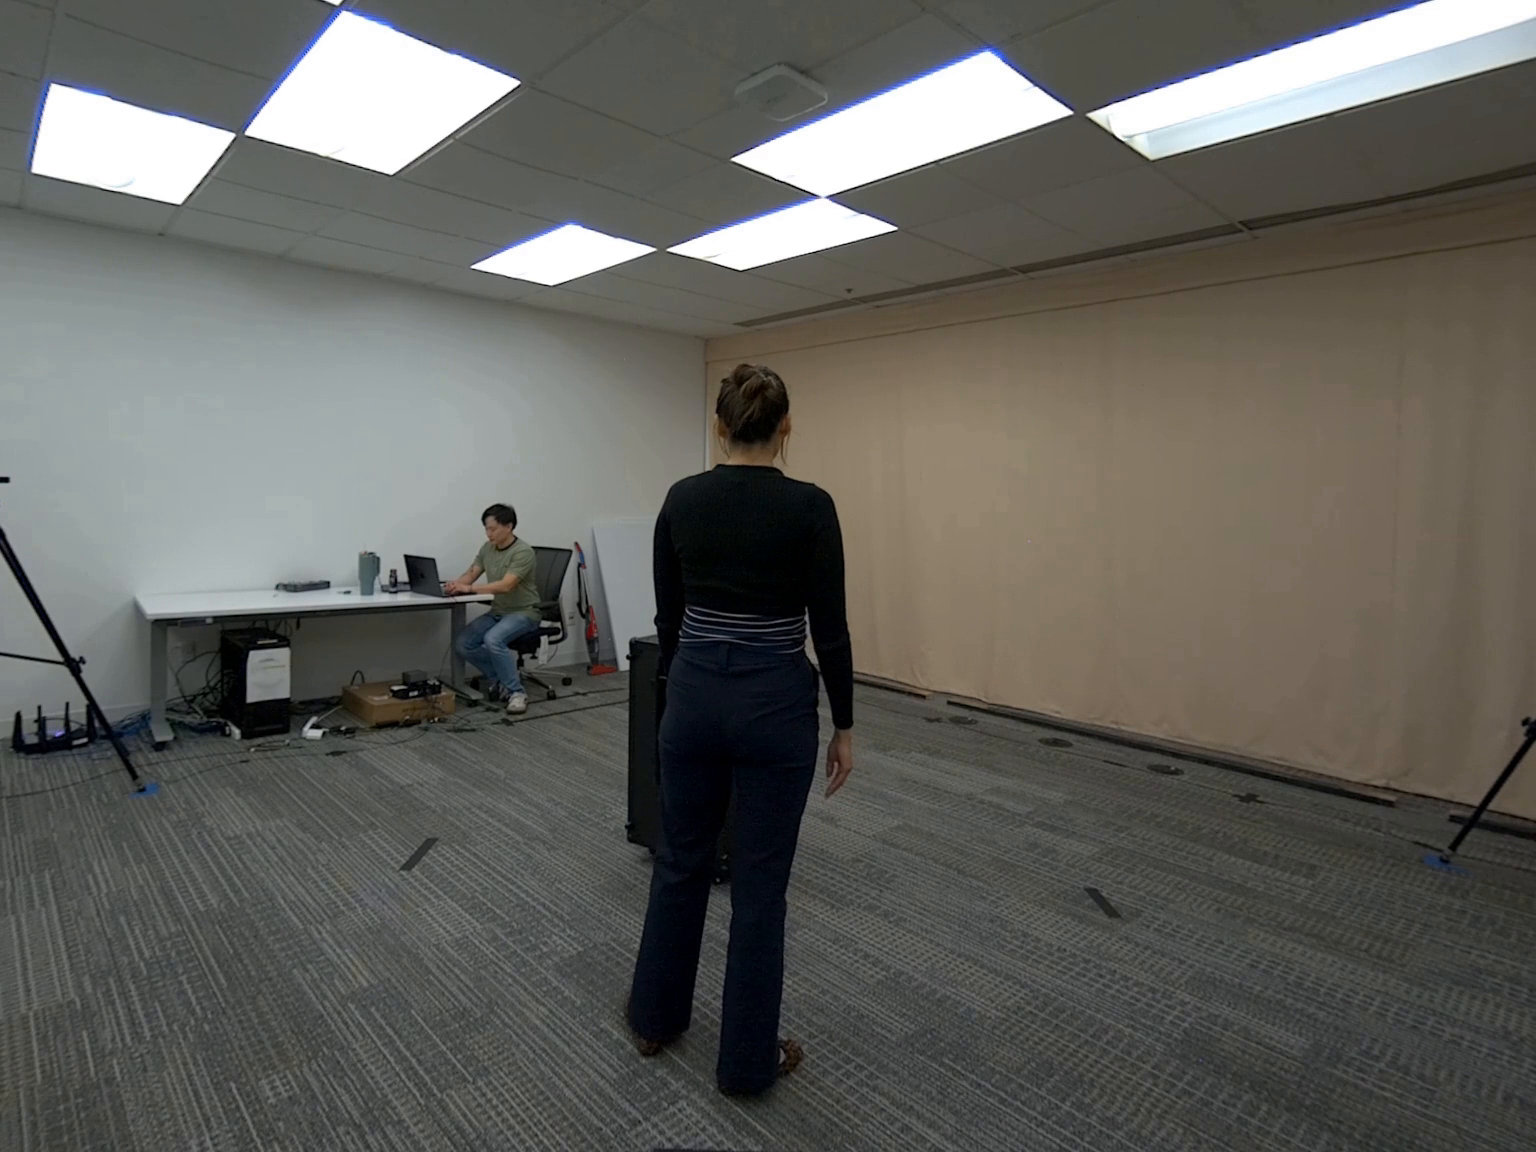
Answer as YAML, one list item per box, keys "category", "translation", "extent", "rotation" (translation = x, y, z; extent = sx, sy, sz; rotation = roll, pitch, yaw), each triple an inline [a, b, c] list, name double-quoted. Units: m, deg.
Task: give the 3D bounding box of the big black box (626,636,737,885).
- category: "big black box"
  translation: [-0.240, 0.673, 3.183]
  extent: [0.534, 0.858, 0.388]
  rotation: [4, 6, 35]
